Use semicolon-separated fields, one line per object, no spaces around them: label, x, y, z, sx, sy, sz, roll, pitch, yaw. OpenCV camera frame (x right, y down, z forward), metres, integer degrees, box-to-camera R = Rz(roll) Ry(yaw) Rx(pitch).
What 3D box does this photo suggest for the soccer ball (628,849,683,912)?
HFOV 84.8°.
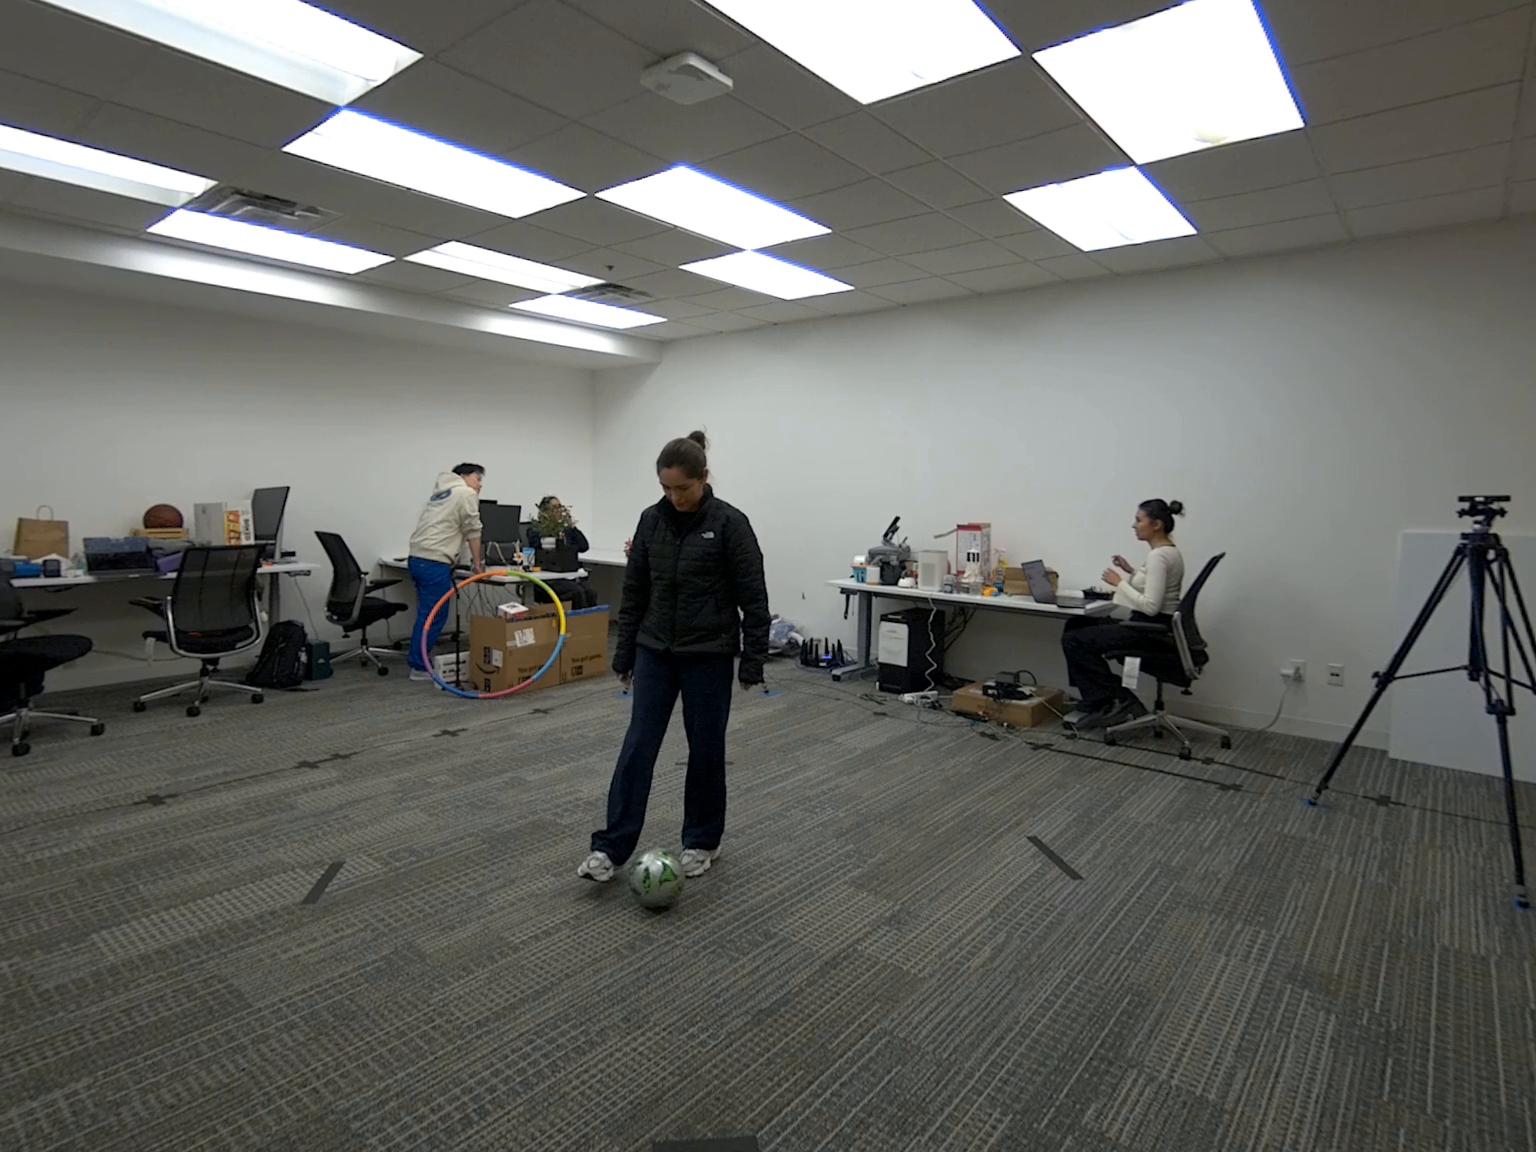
soccer ball;-0.377;0.995;2.814;0.187;0.187;0.188;1;4;-2
